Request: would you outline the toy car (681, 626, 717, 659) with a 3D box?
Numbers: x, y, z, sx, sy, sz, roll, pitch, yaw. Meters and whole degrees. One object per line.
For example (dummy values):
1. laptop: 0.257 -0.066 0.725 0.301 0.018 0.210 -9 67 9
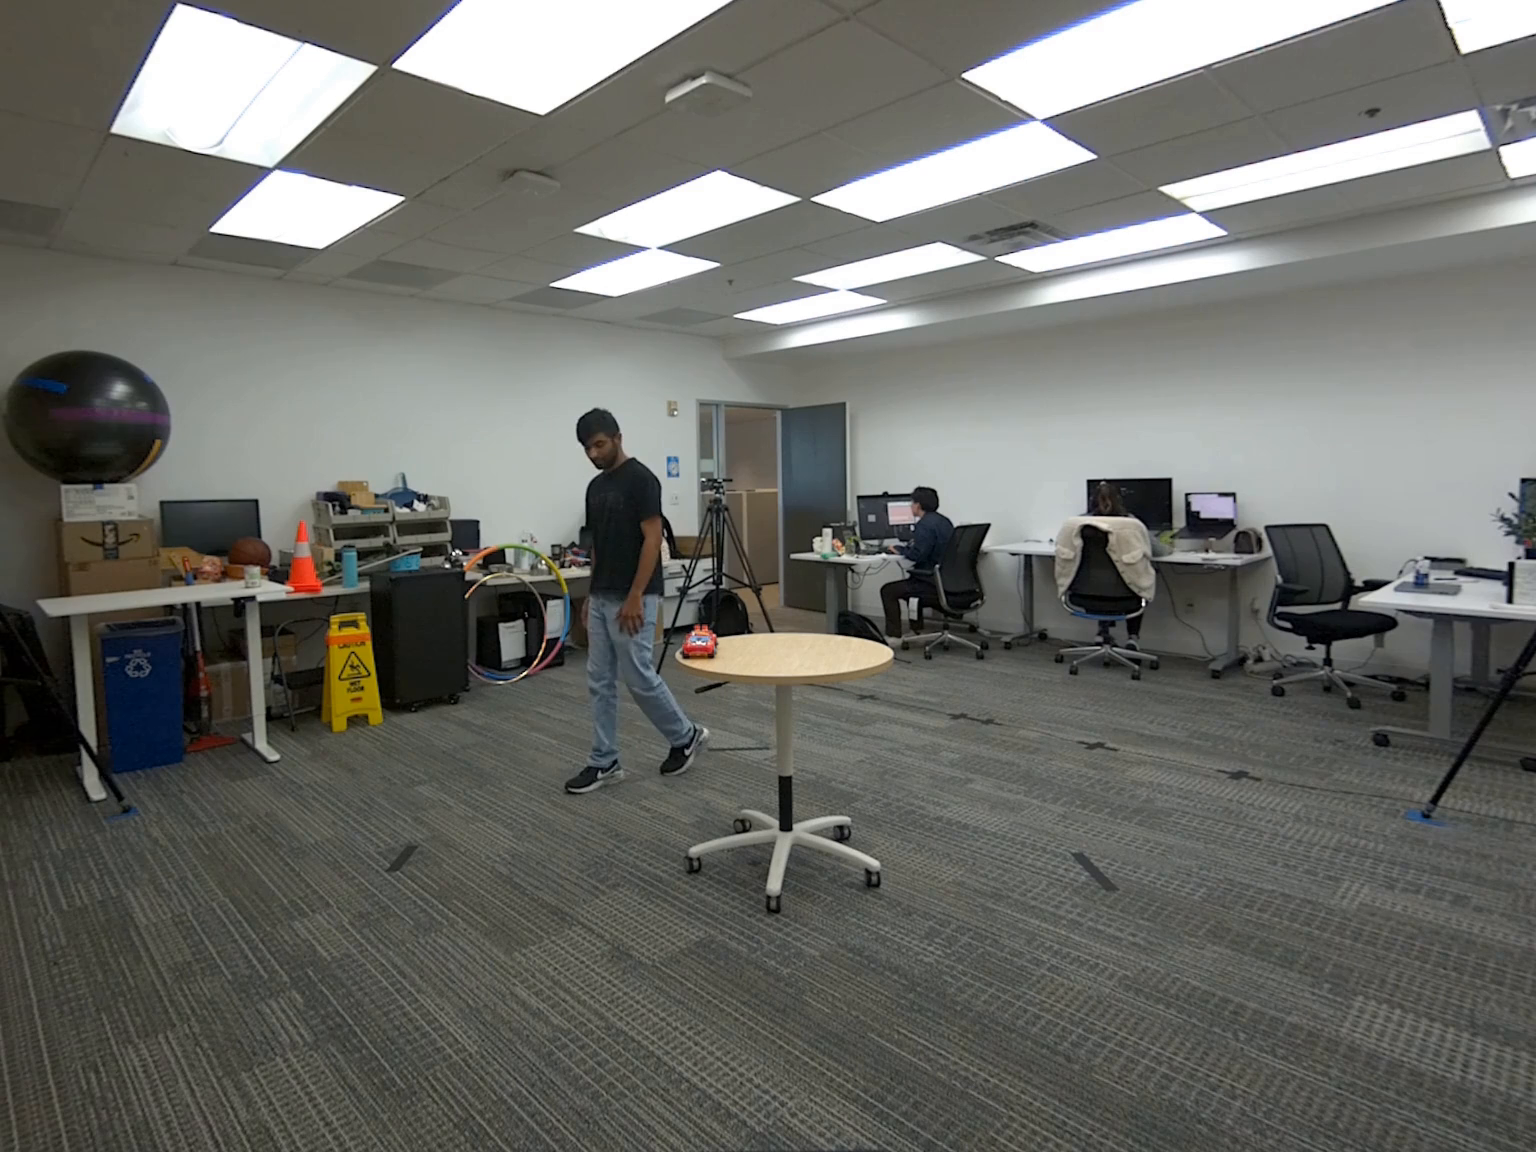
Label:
1. toy car: -0.239 0.242 3.043 0.130 0.082 0.258 -2 17 0
